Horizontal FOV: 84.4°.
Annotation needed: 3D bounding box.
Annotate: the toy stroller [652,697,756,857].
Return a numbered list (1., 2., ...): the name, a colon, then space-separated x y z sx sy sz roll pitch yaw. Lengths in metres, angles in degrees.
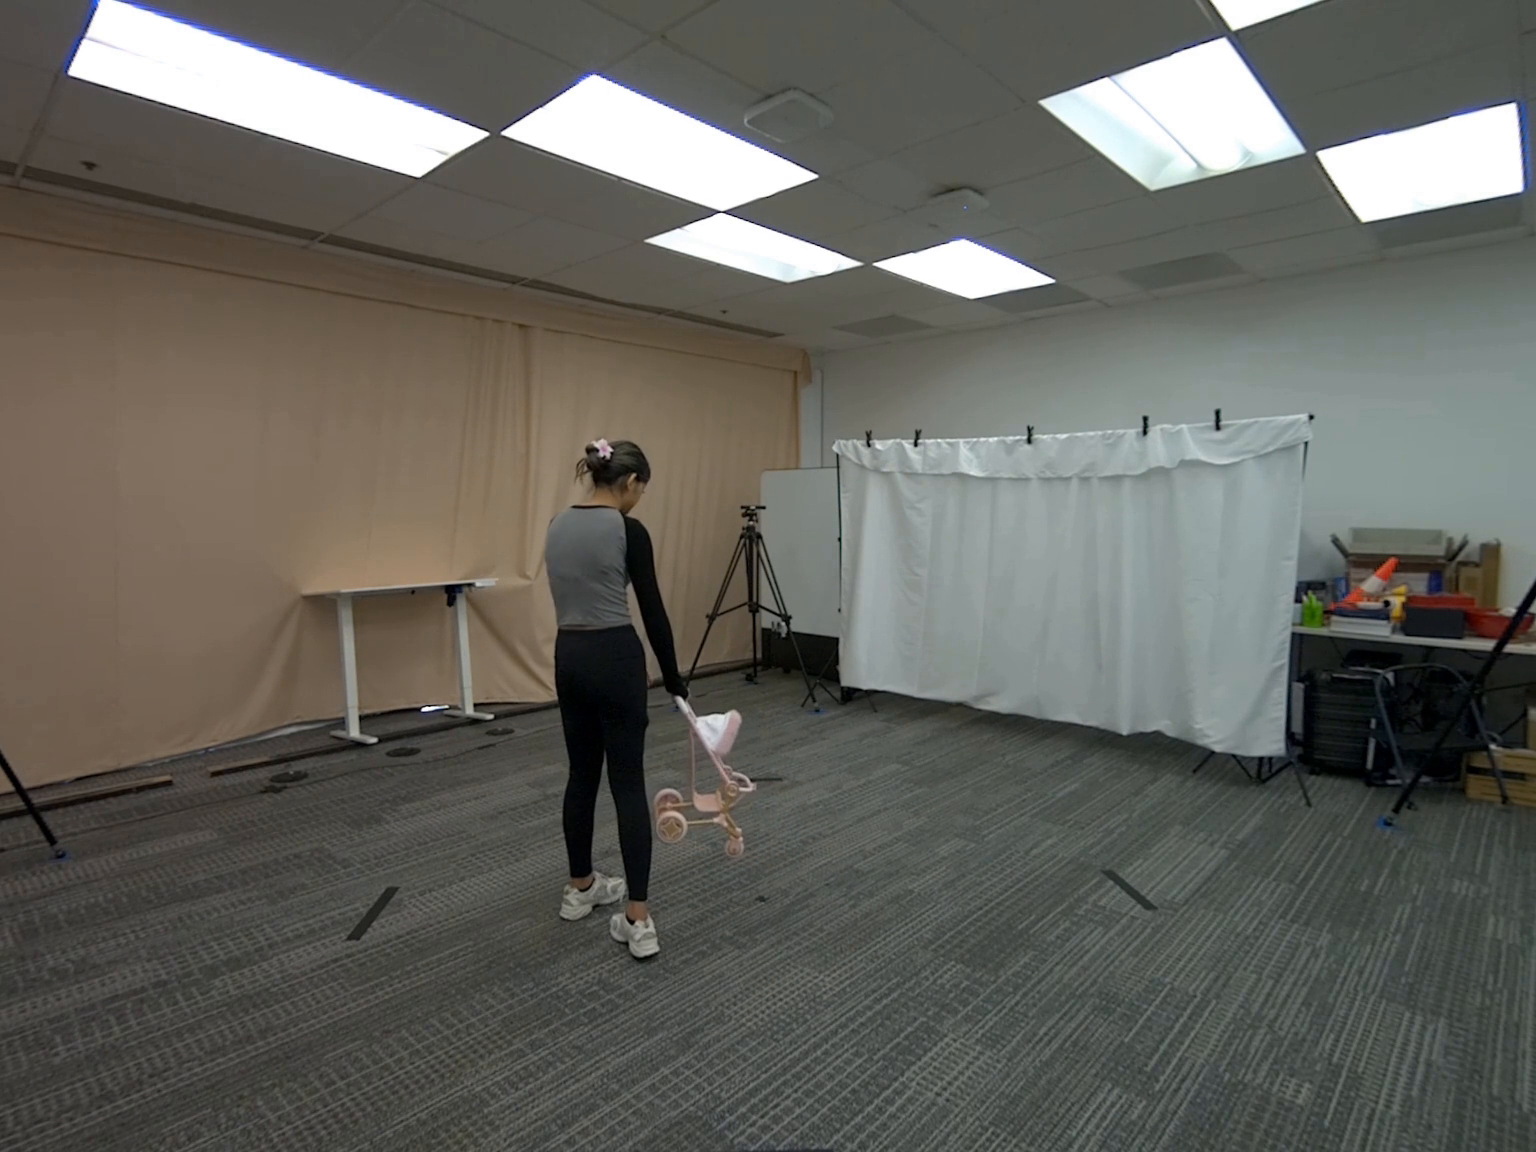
1. toy stroller: -0.184 0.687 2.904 0.340 0.535 0.282 10 -1 -3
